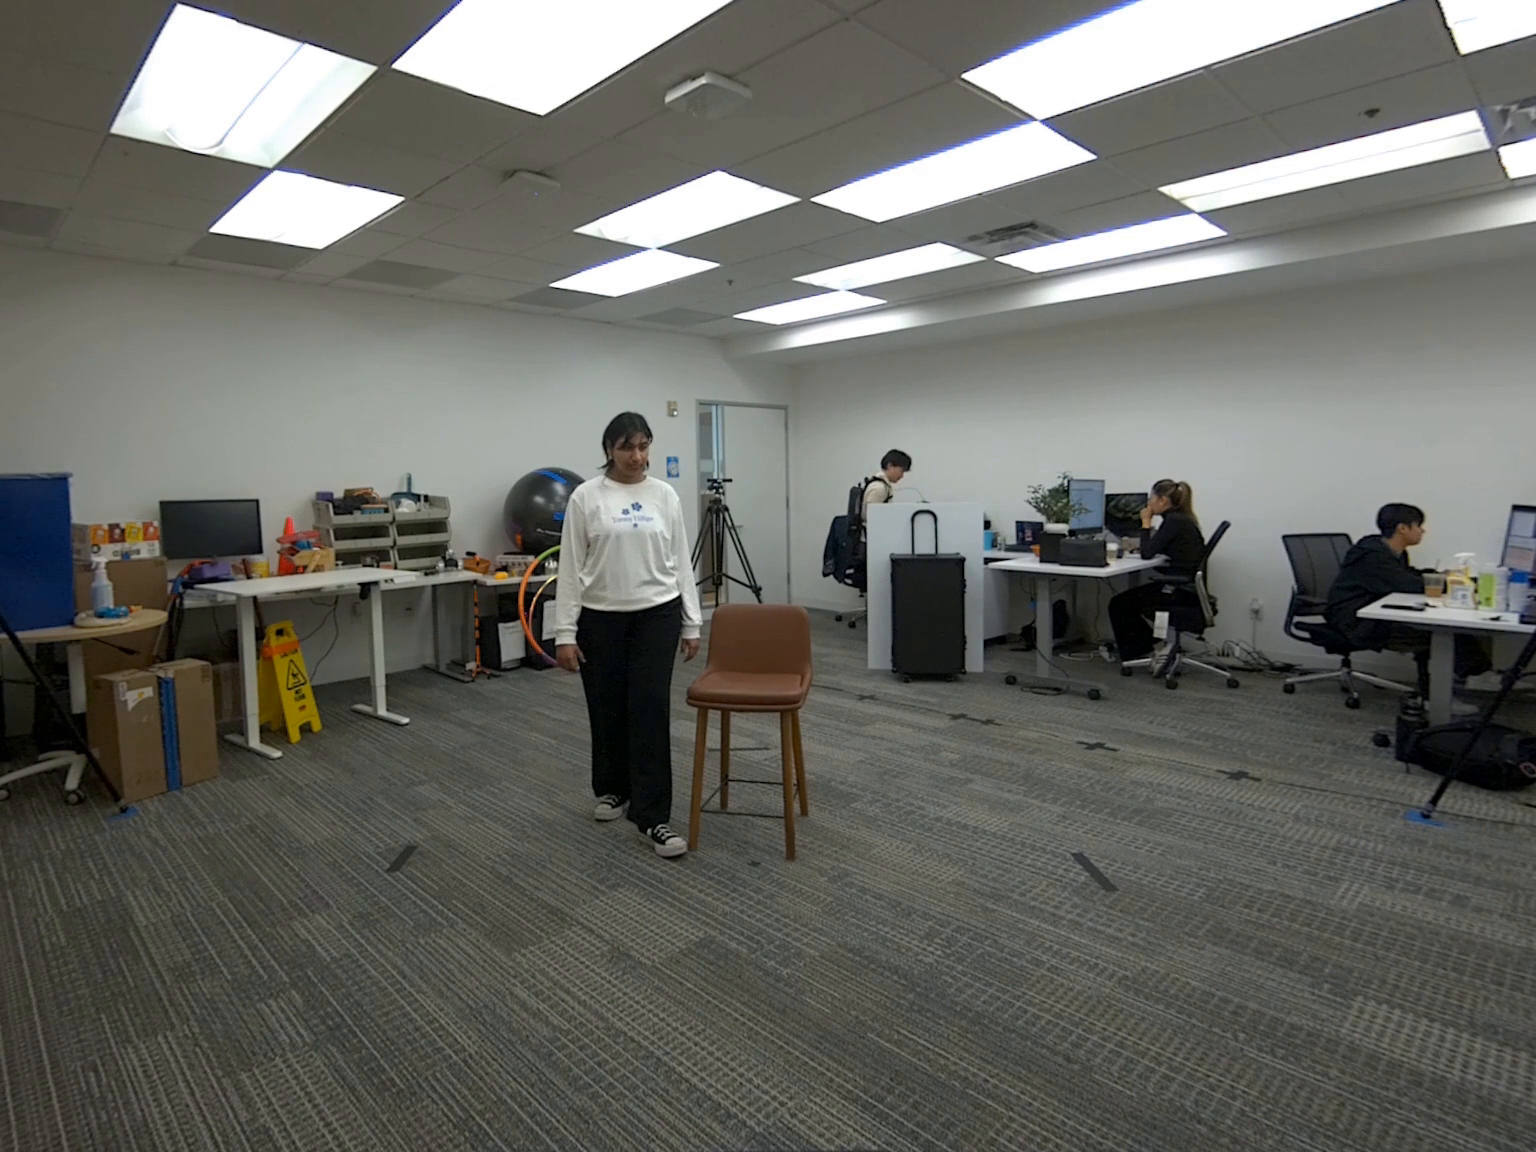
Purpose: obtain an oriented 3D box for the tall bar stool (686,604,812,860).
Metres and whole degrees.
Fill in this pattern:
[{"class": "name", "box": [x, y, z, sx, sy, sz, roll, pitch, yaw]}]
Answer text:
[{"class": "tall bar stool", "box": [-0.064, 0.581, 3.365, 0.463, 0.888, 0.462, 0, 3, 14]}]
